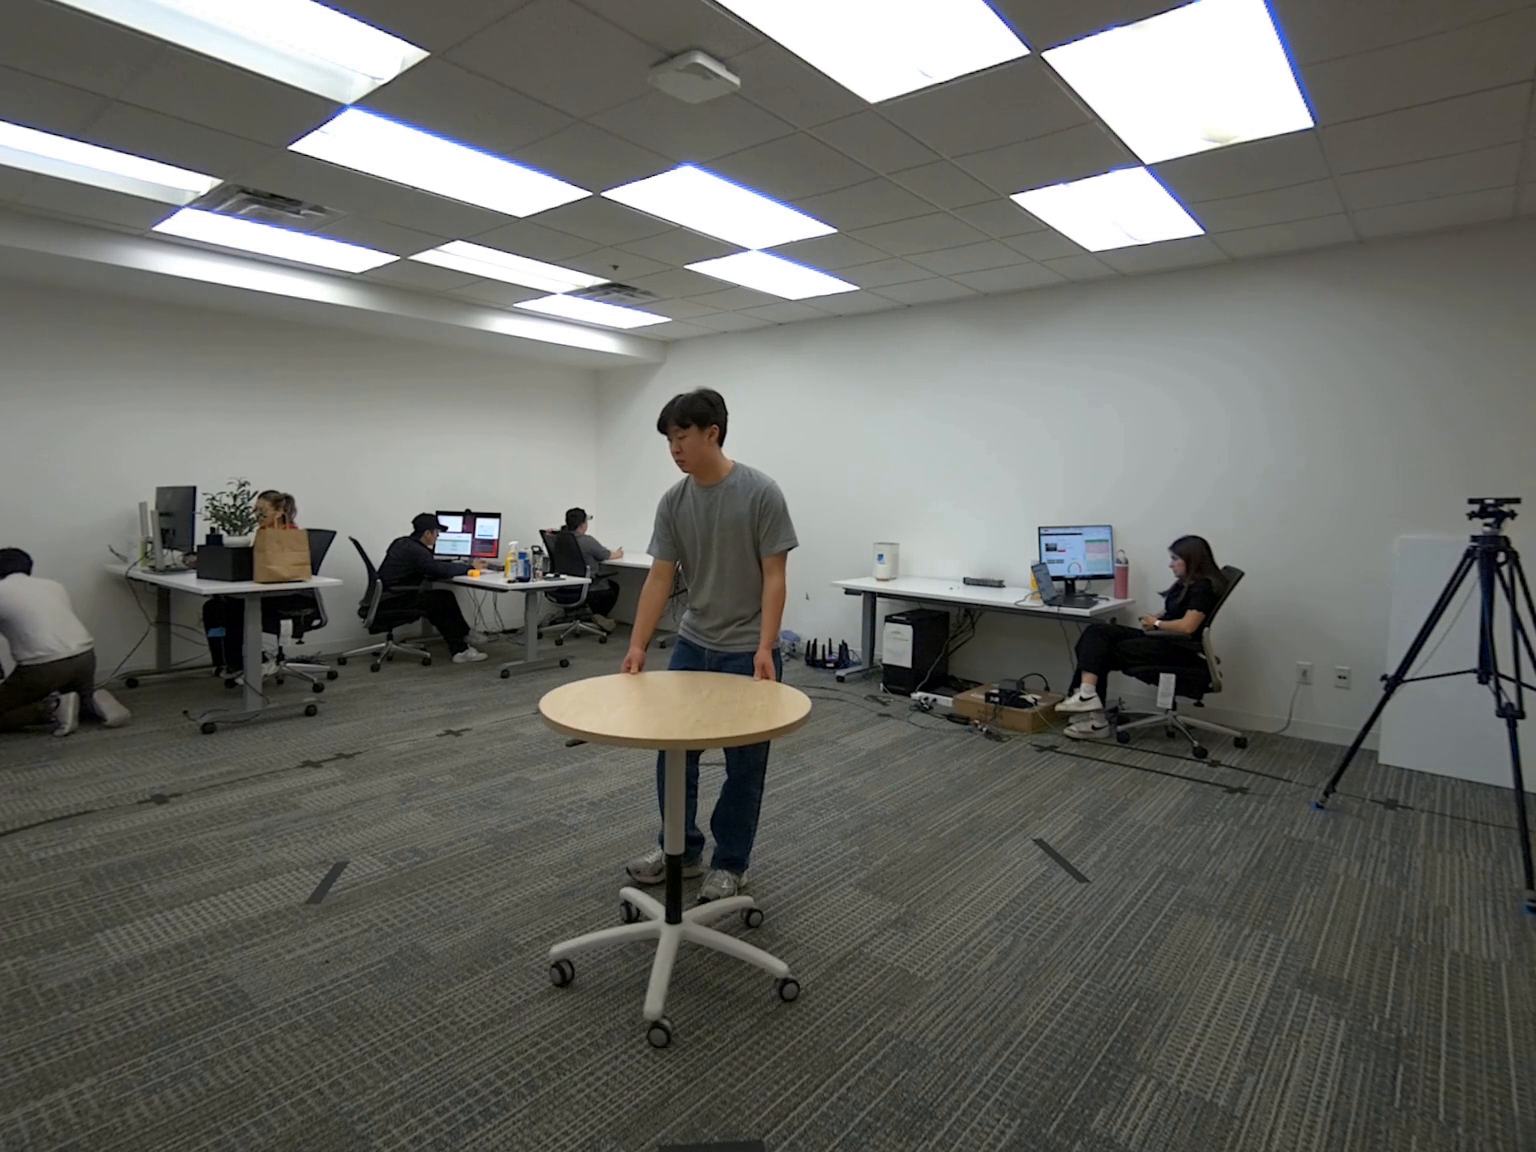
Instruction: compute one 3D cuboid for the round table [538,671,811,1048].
[{"bbox_3d":[-0.276,0.741,2.445,0.763,0.791,0.768,1,4,-2],"label":"round table"}]
